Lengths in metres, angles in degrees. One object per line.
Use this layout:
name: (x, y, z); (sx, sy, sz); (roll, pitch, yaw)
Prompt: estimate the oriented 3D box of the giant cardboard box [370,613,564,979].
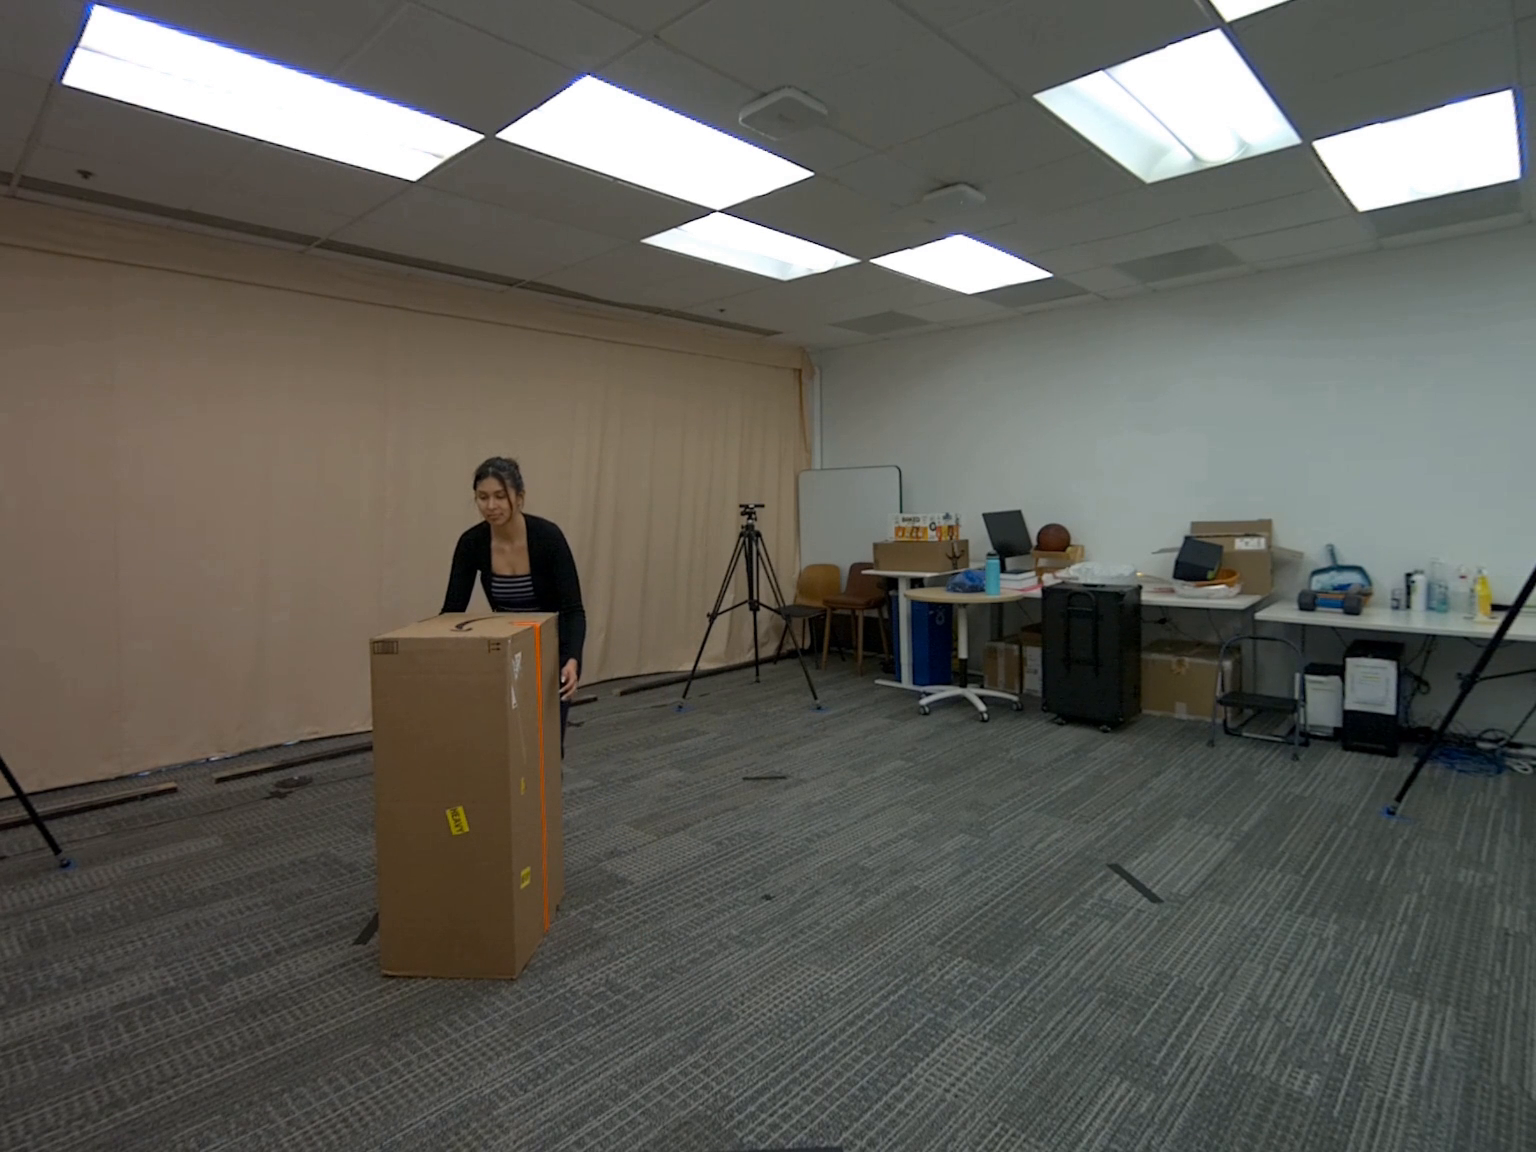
giant cardboard box: (-0.951, 0.669, 2.767); (0.428, 1.024, 0.576); (-1, 2, 3)
